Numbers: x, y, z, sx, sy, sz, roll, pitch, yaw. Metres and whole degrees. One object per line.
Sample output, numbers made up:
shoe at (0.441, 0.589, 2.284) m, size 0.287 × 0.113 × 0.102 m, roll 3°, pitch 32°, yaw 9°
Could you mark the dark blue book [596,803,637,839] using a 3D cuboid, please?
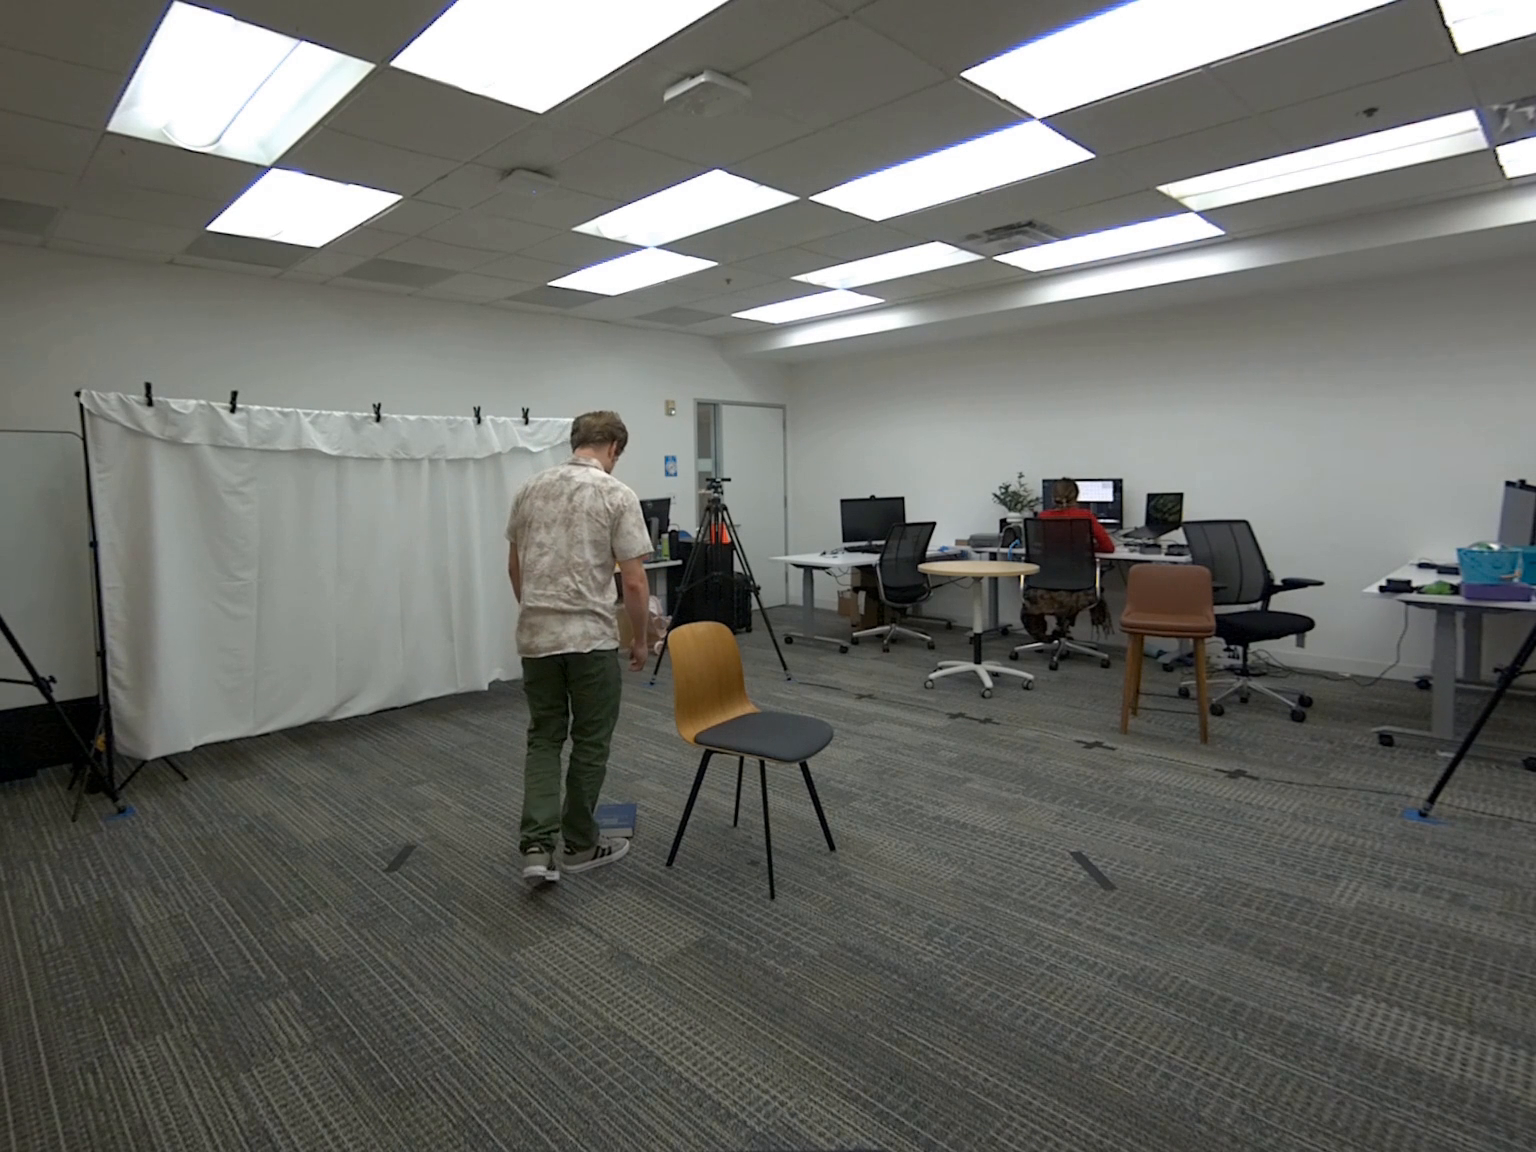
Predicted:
dark blue book at (-0.618, 0.988, 3.457) m, size 0.163 × 0.045 × 0.247 m, roll -2°, pitch 7°, yaw -5°
